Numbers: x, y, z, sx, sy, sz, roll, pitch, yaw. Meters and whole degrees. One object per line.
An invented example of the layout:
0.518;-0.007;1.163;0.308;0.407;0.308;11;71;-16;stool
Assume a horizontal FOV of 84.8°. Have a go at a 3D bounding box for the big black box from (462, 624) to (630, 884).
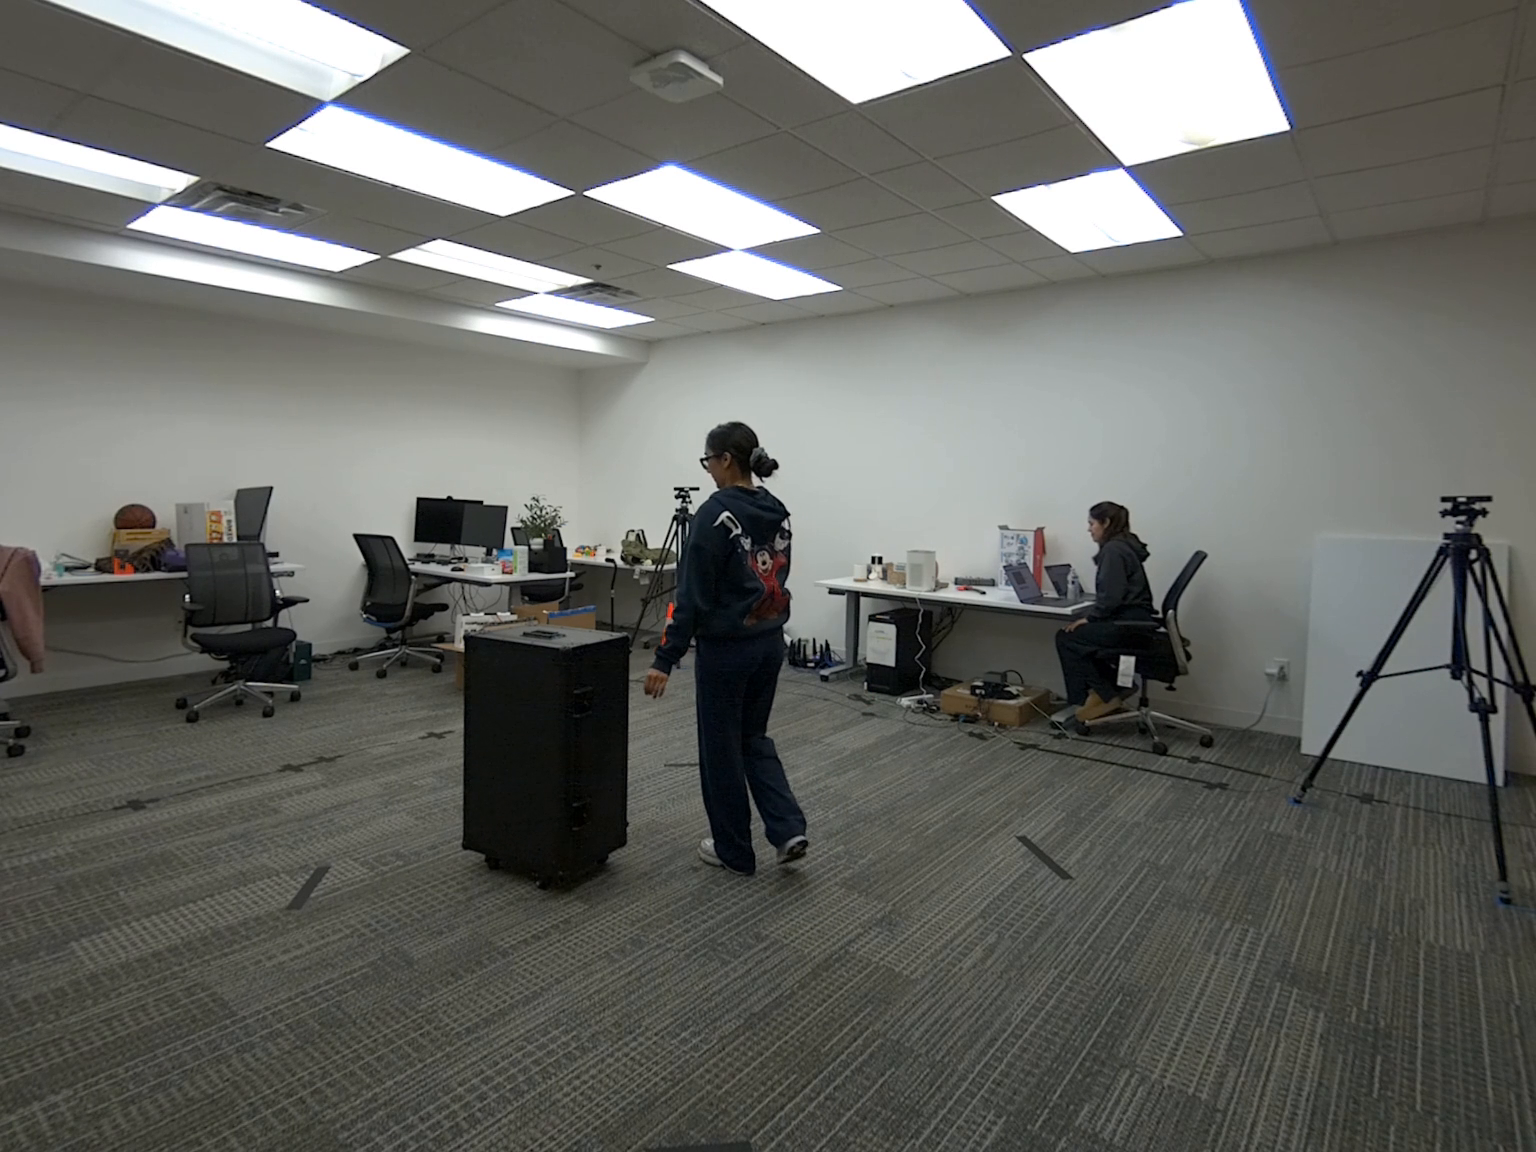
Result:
-0.818;0.632;3.104;0.536;0.860;0.386;3;2;29;big black box
